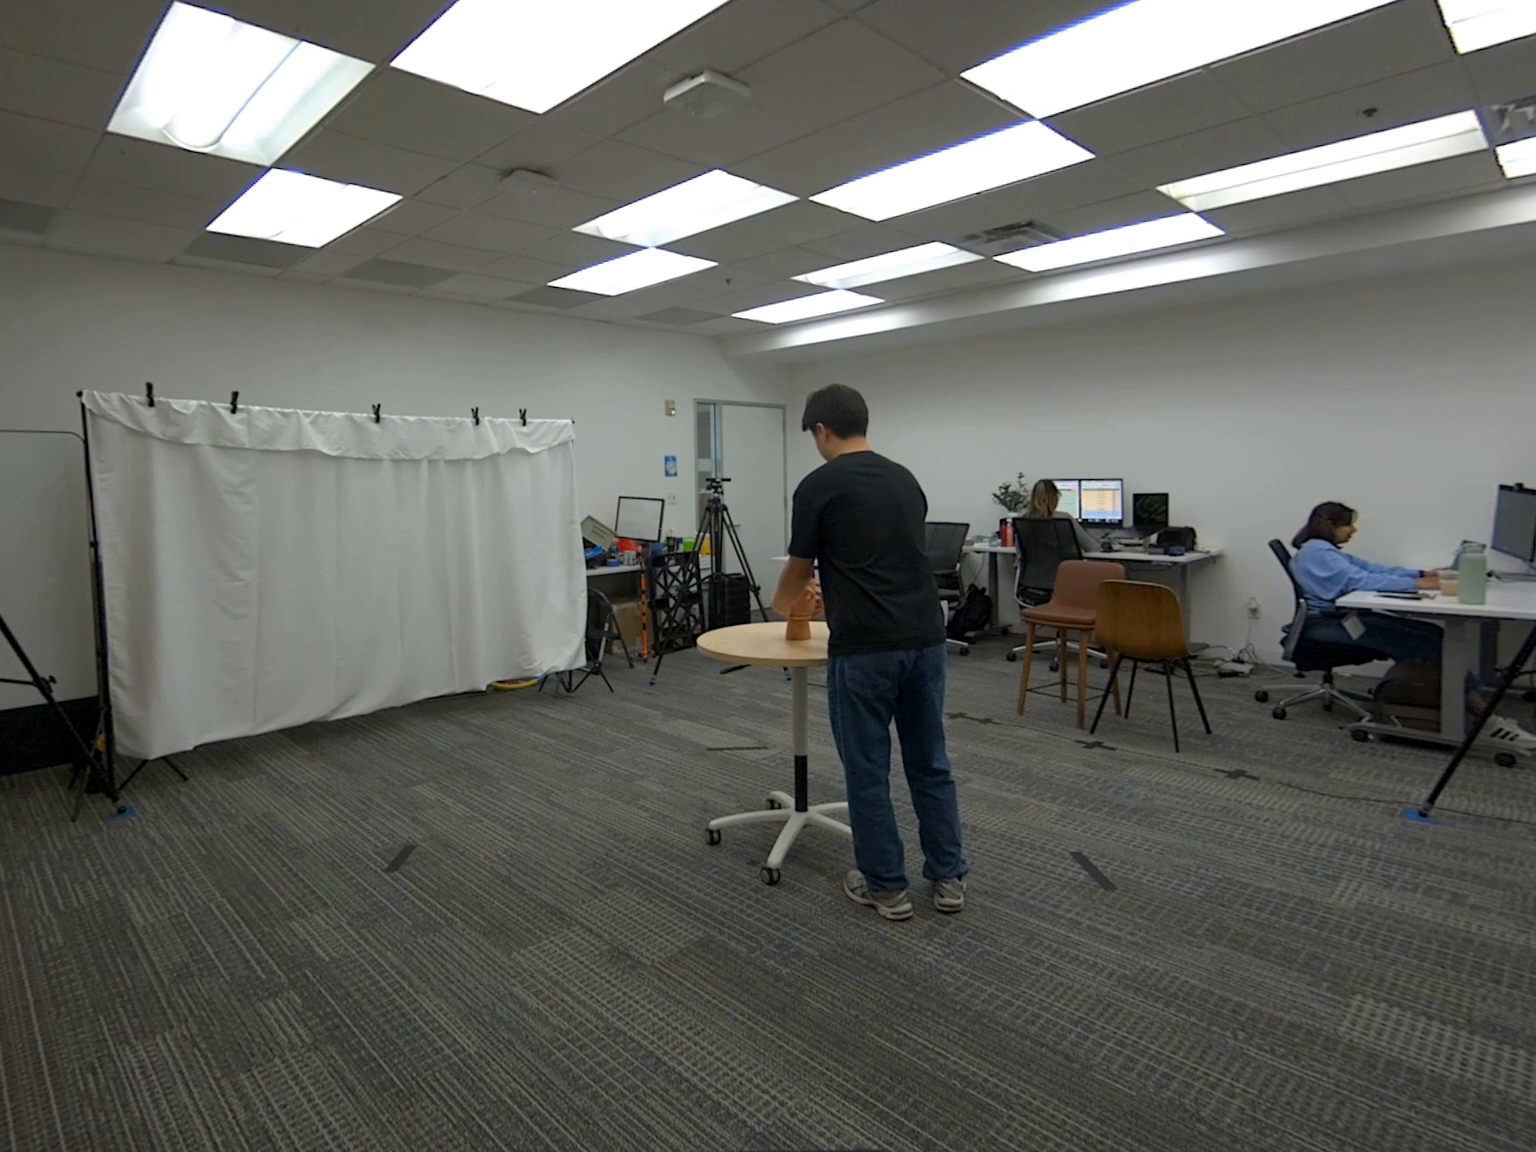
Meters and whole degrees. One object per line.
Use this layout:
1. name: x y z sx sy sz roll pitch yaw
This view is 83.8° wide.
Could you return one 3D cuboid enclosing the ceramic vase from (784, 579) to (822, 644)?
1. ceramic vase: 0.116 0.123 3.189 0.136 0.219 0.158 1 4 7
